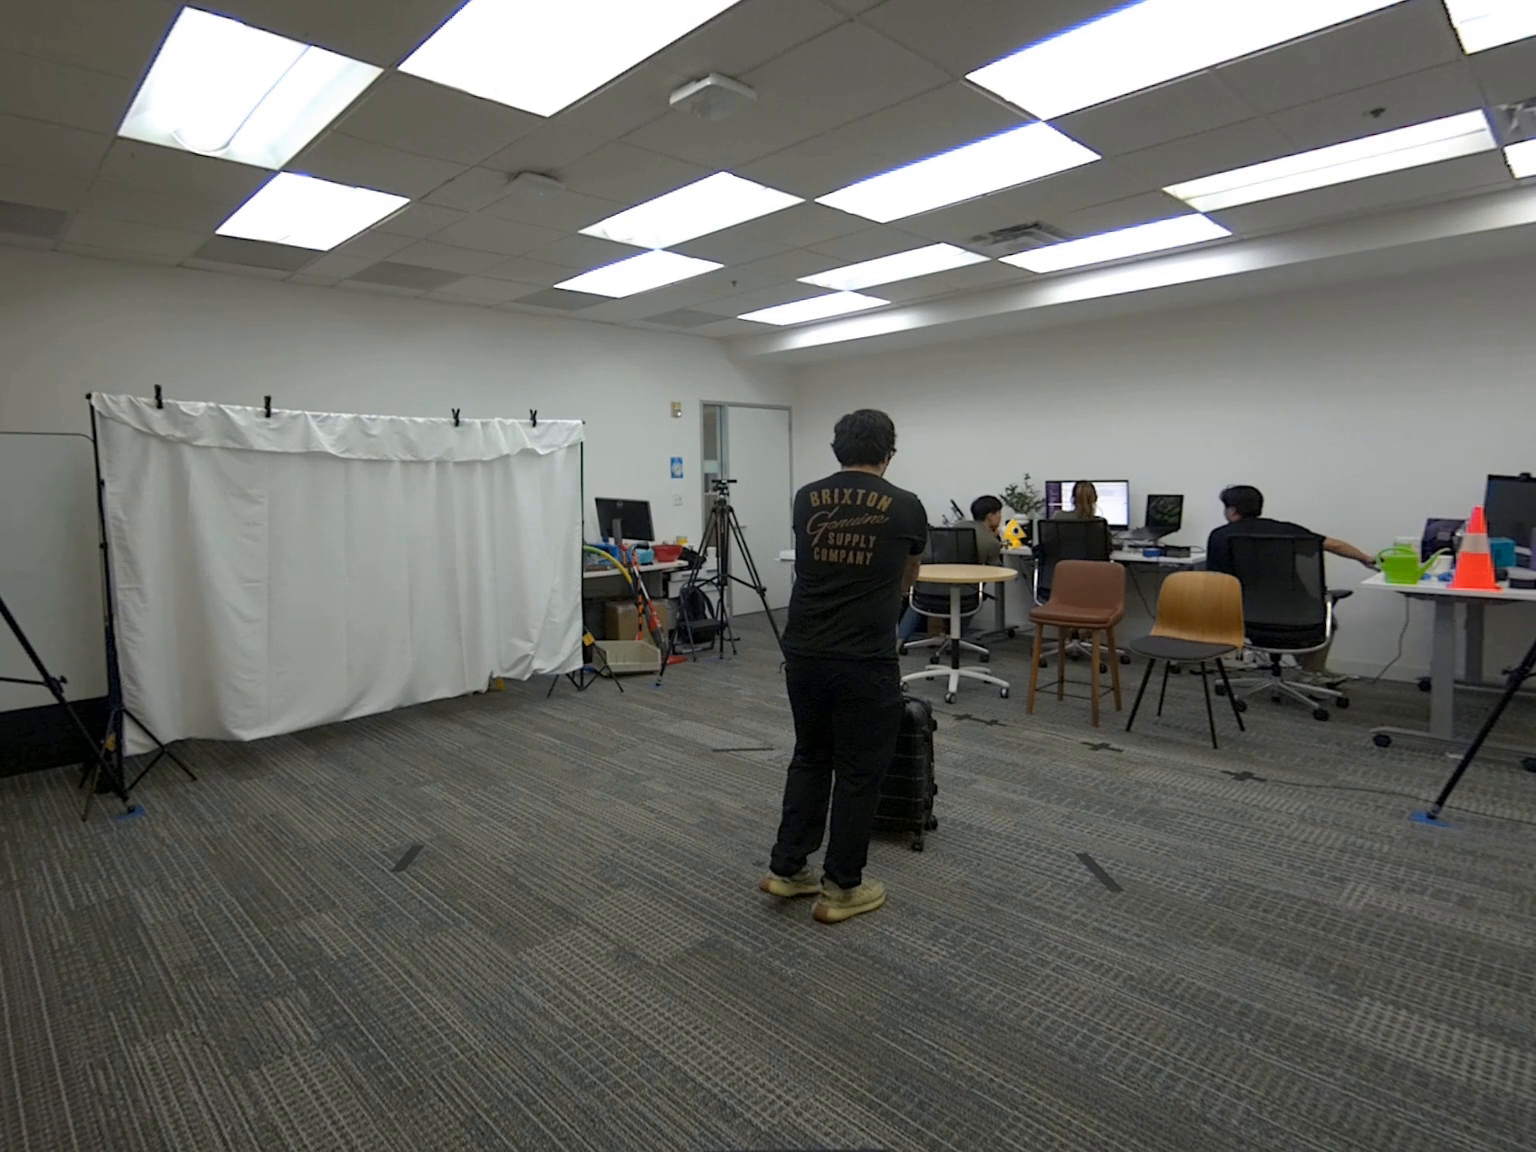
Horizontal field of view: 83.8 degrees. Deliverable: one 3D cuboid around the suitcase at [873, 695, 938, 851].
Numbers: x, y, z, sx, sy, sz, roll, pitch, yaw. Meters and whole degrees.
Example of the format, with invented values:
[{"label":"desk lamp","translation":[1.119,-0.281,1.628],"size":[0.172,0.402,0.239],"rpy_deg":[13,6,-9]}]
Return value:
[{"label":"suitcase","translation":[0.468,0.536,3.368],"size":[0.392,0.979,0.252],"rpy_deg":[0,0,22]}]
